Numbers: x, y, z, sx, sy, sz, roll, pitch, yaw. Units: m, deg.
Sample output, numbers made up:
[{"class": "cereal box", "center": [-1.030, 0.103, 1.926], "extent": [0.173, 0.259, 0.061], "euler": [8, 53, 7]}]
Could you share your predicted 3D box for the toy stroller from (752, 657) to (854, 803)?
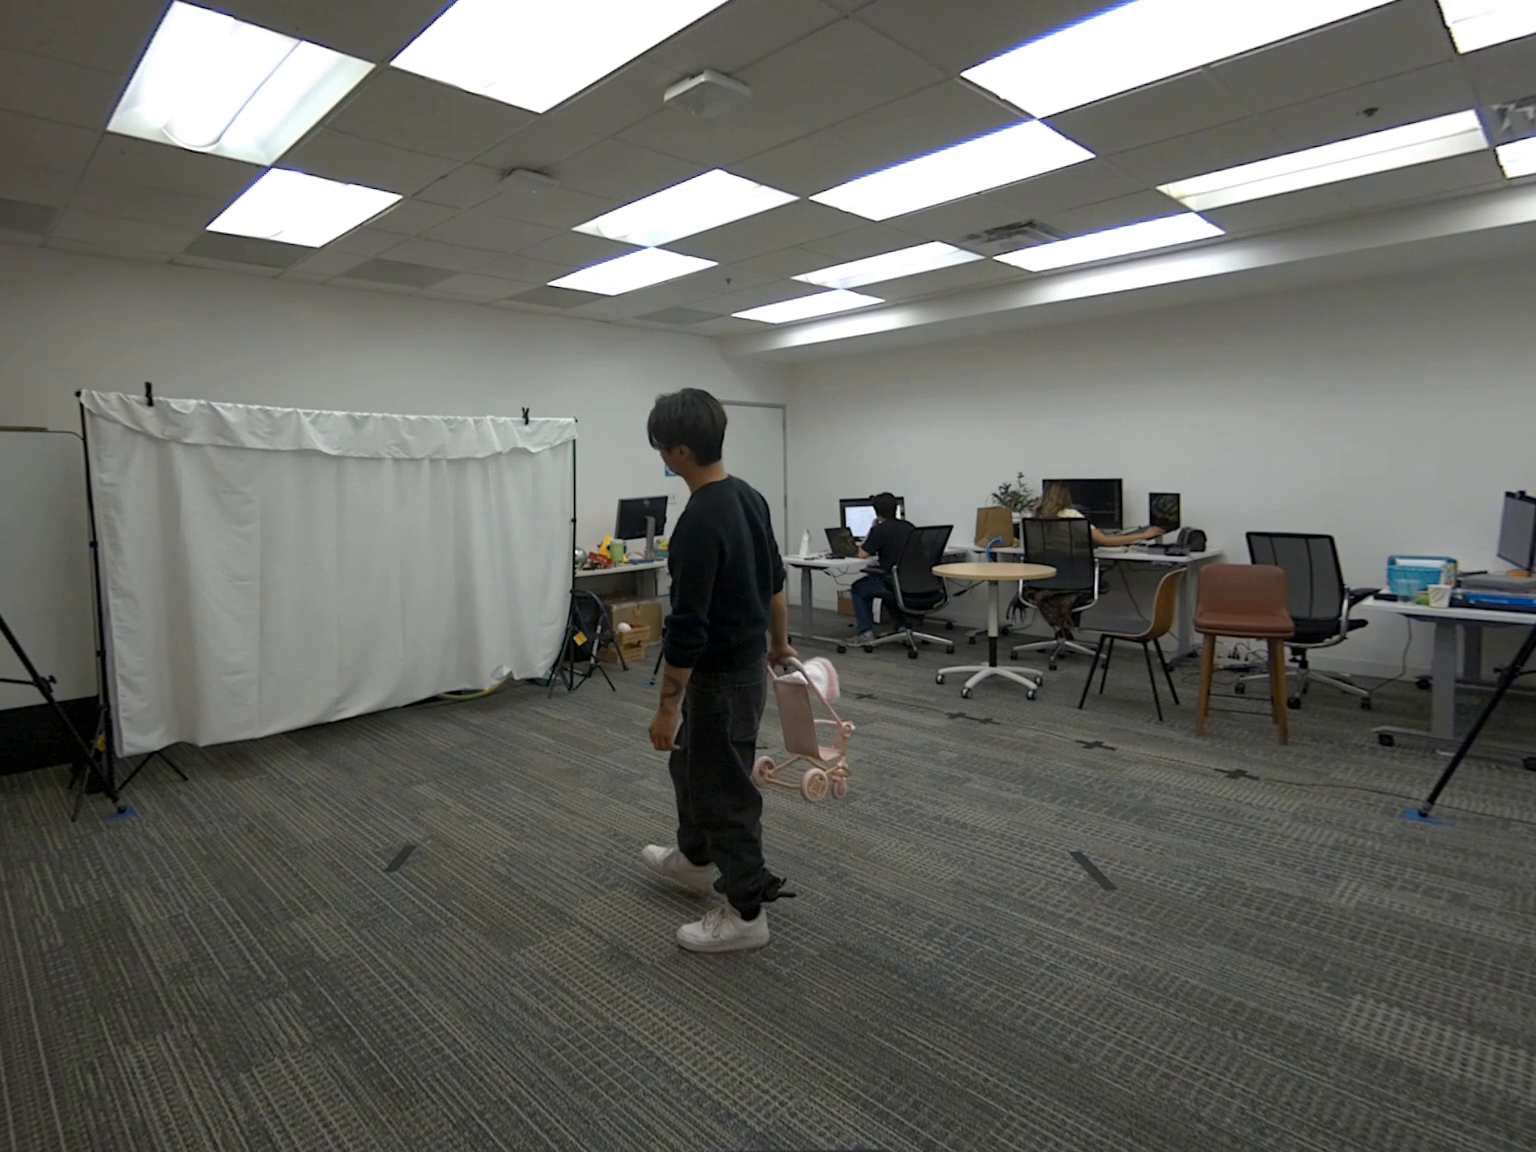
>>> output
[{"class": "toy stroller", "center": [0.150, 0.527, 2.954], "extent": [0.332, 0.536, 0.288], "euler": [-1, -3, -36]}]
